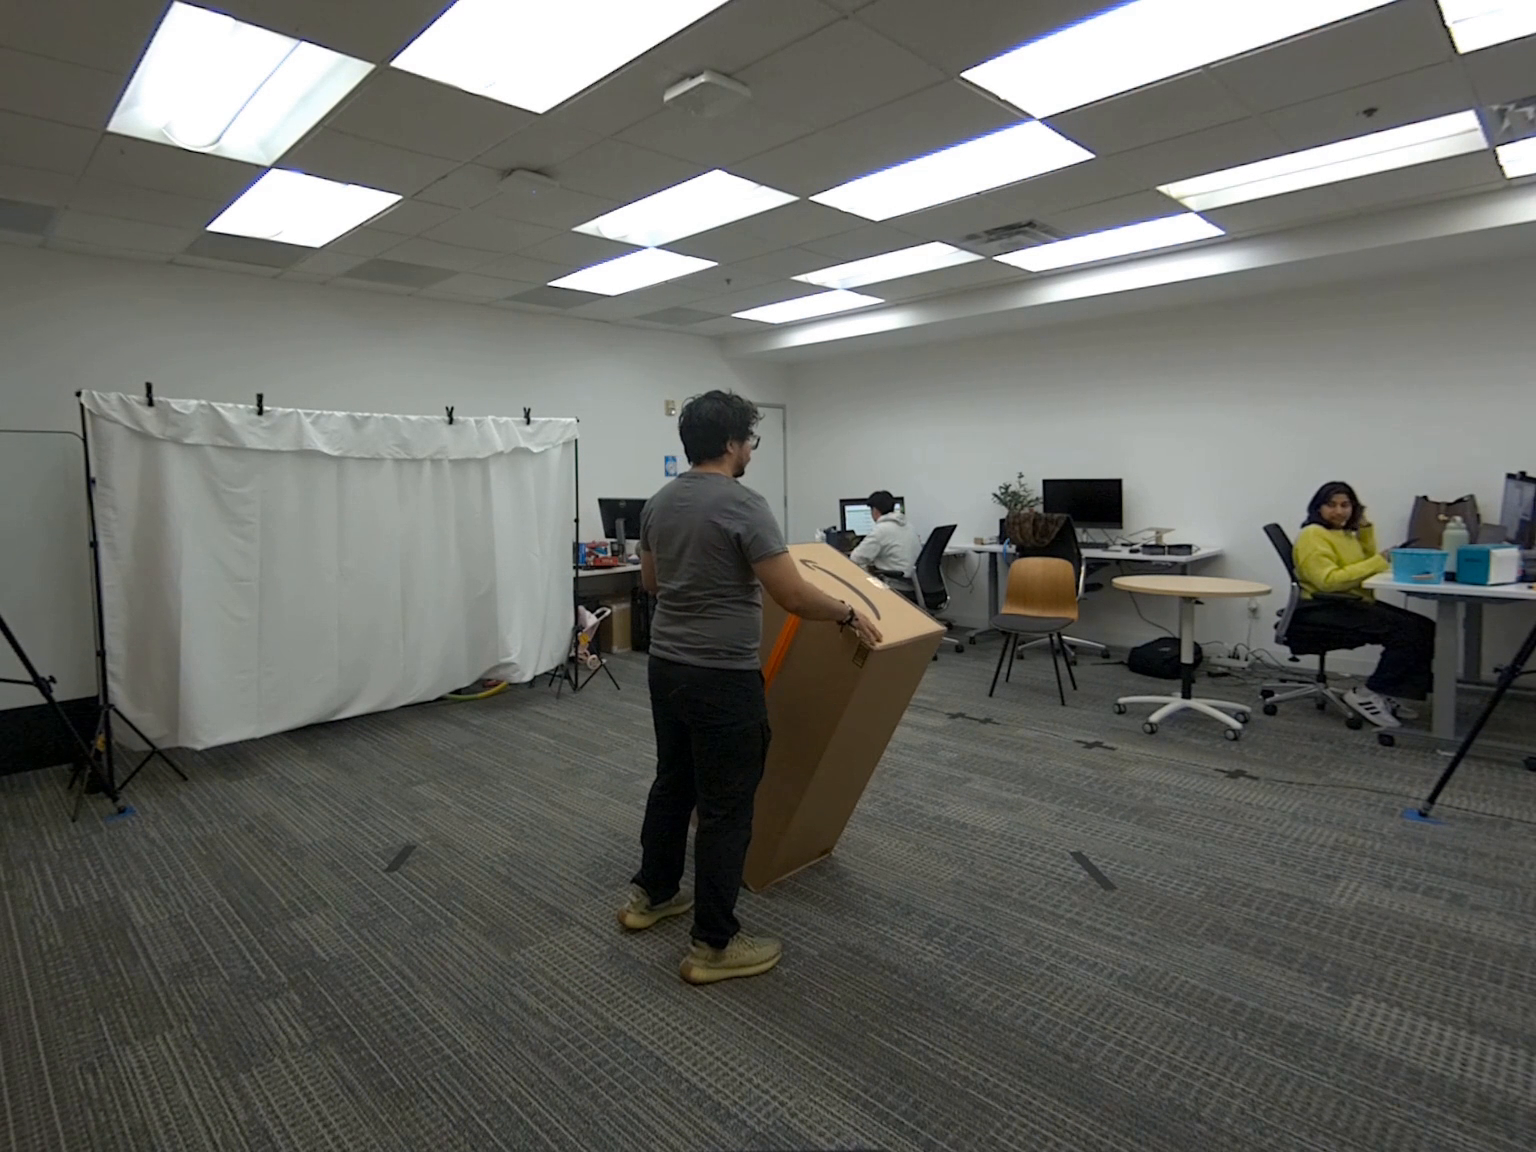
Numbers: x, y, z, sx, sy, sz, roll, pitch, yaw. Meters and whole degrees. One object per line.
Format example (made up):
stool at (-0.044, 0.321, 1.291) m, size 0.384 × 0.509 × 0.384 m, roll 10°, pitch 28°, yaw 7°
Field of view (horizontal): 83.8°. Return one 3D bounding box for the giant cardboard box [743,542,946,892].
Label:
giant cardboard box at (0.085, 0.475, 2.997) m, size 0.415 × 1.015 × 0.599 m, roll -4°, pitch 34°, yaw -46°
